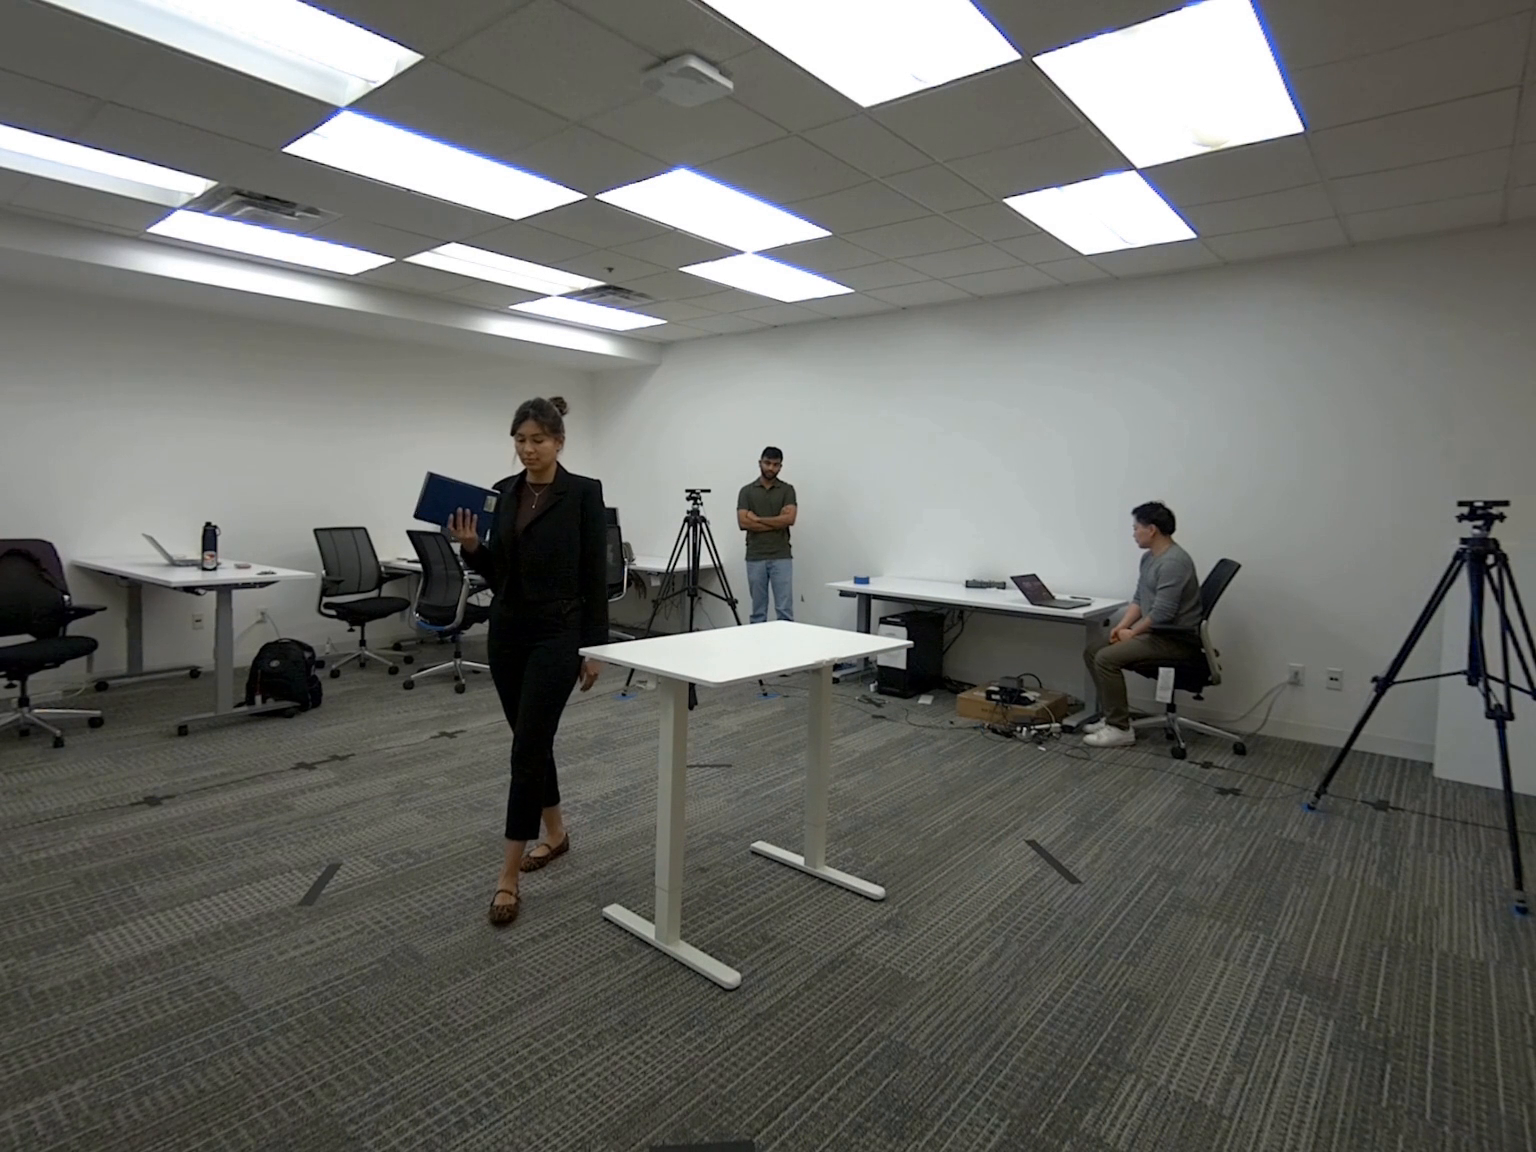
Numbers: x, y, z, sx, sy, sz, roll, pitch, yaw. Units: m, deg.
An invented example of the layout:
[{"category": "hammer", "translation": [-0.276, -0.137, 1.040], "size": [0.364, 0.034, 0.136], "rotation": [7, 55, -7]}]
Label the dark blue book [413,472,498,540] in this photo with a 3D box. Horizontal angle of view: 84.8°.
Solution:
[{"category": "dark blue book", "translation": [-1.066, -0.241, 2.838], "size": [0.237, 0.163, 0.047], "rotation": [19, 6, -29]}]
